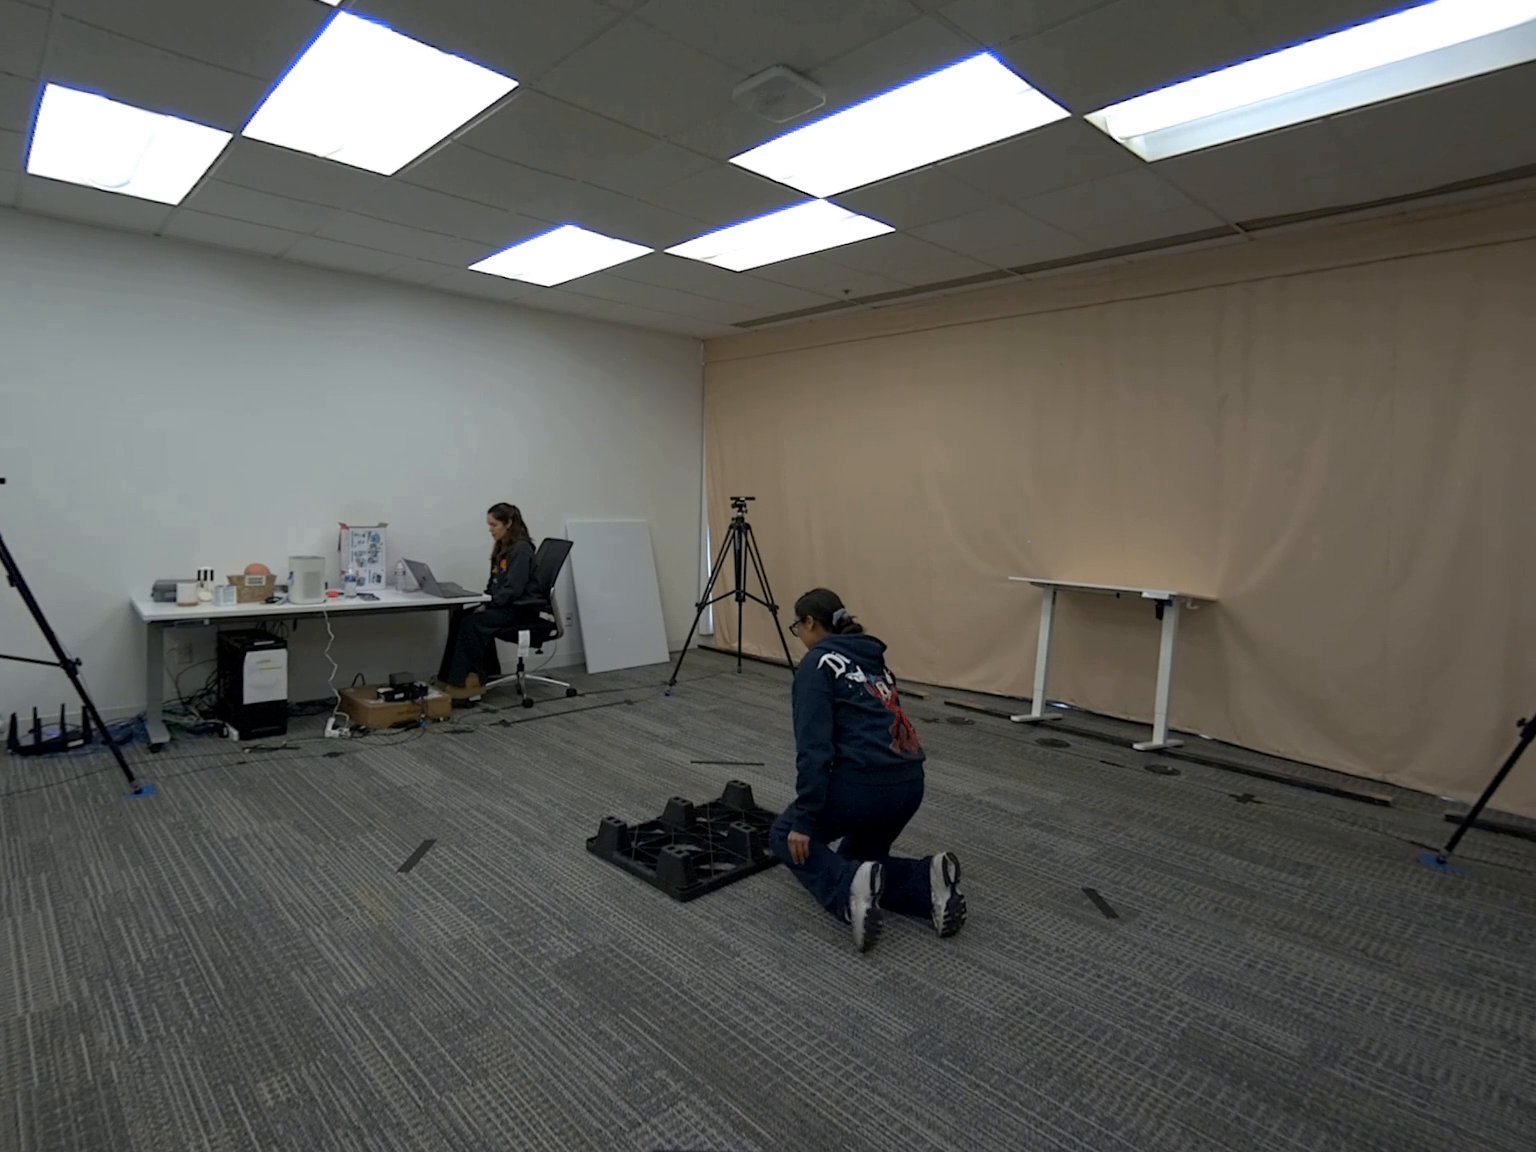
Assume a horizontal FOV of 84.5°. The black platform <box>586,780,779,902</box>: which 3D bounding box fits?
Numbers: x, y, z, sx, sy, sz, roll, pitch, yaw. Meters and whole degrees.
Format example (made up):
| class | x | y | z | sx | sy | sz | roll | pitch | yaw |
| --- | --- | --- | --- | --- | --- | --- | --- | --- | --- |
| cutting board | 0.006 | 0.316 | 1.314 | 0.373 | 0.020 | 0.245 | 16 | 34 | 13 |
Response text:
| class | x | y | z | sx | sy | sz | roll | pitch | yaw |
| --- | --- | --- | --- | --- | --- | --- | --- | --- | --- |
| black platform | -0.239 | 1.017 | 3.374 | 0.621 | 0.143 | 0.787 | 7 | 8 | 44 |
